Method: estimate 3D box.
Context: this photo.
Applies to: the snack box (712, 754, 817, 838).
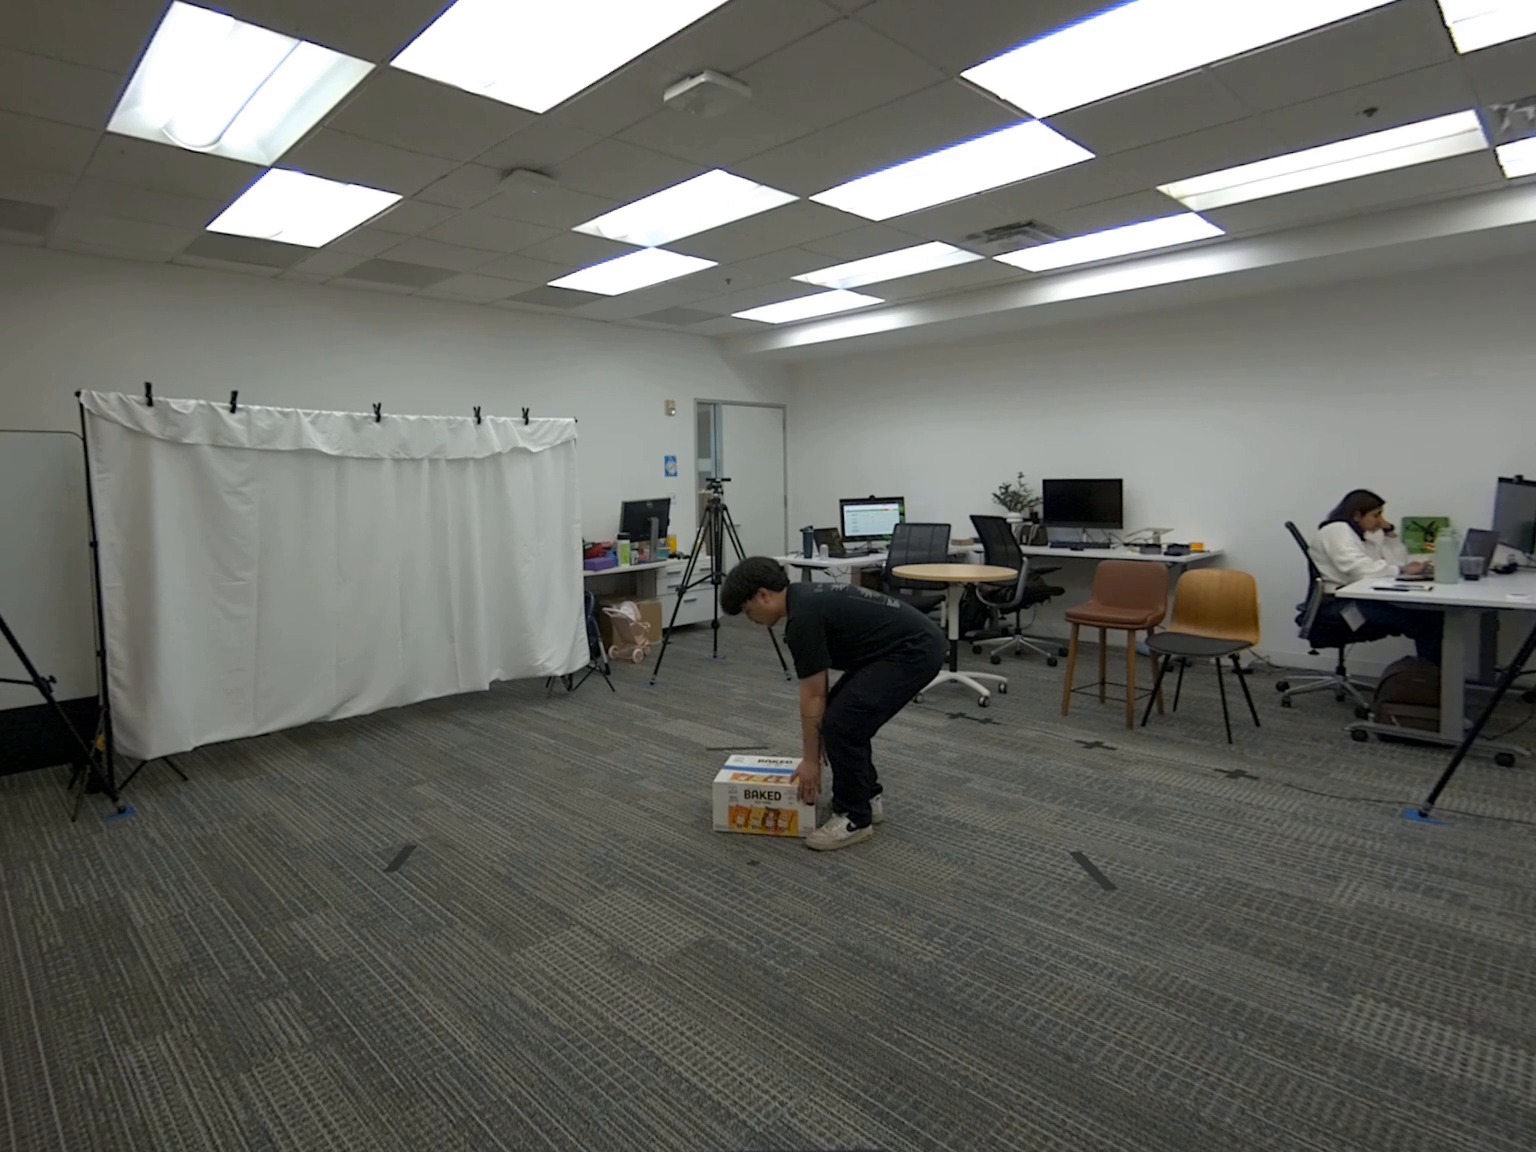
[{"bbox_3d":[0.012,0.889,3.498,0.410,0.205,0.338,-1,6,11],"label":"snack box"}]
